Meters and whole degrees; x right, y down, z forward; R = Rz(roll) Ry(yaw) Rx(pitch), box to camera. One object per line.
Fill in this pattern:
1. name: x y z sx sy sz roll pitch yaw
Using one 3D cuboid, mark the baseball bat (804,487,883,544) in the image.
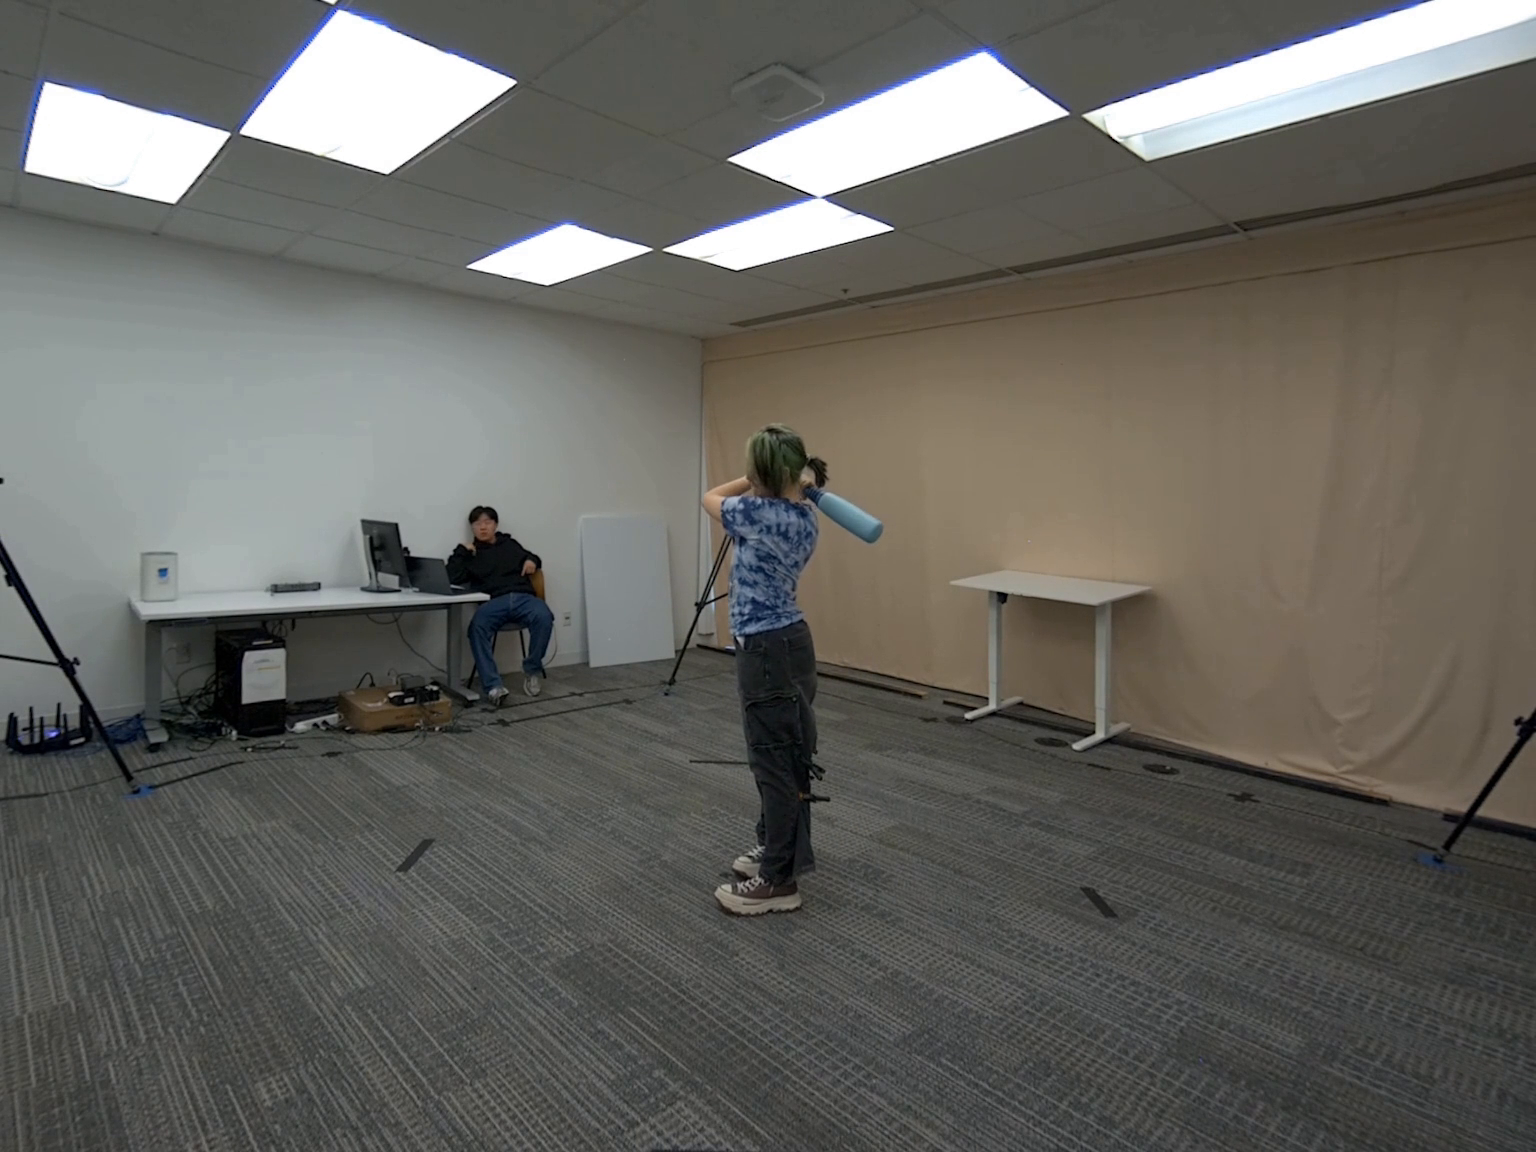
1. baseball bat: 0.180 -0.286 3.070 0.558 0.088 0.087 37 22 29
